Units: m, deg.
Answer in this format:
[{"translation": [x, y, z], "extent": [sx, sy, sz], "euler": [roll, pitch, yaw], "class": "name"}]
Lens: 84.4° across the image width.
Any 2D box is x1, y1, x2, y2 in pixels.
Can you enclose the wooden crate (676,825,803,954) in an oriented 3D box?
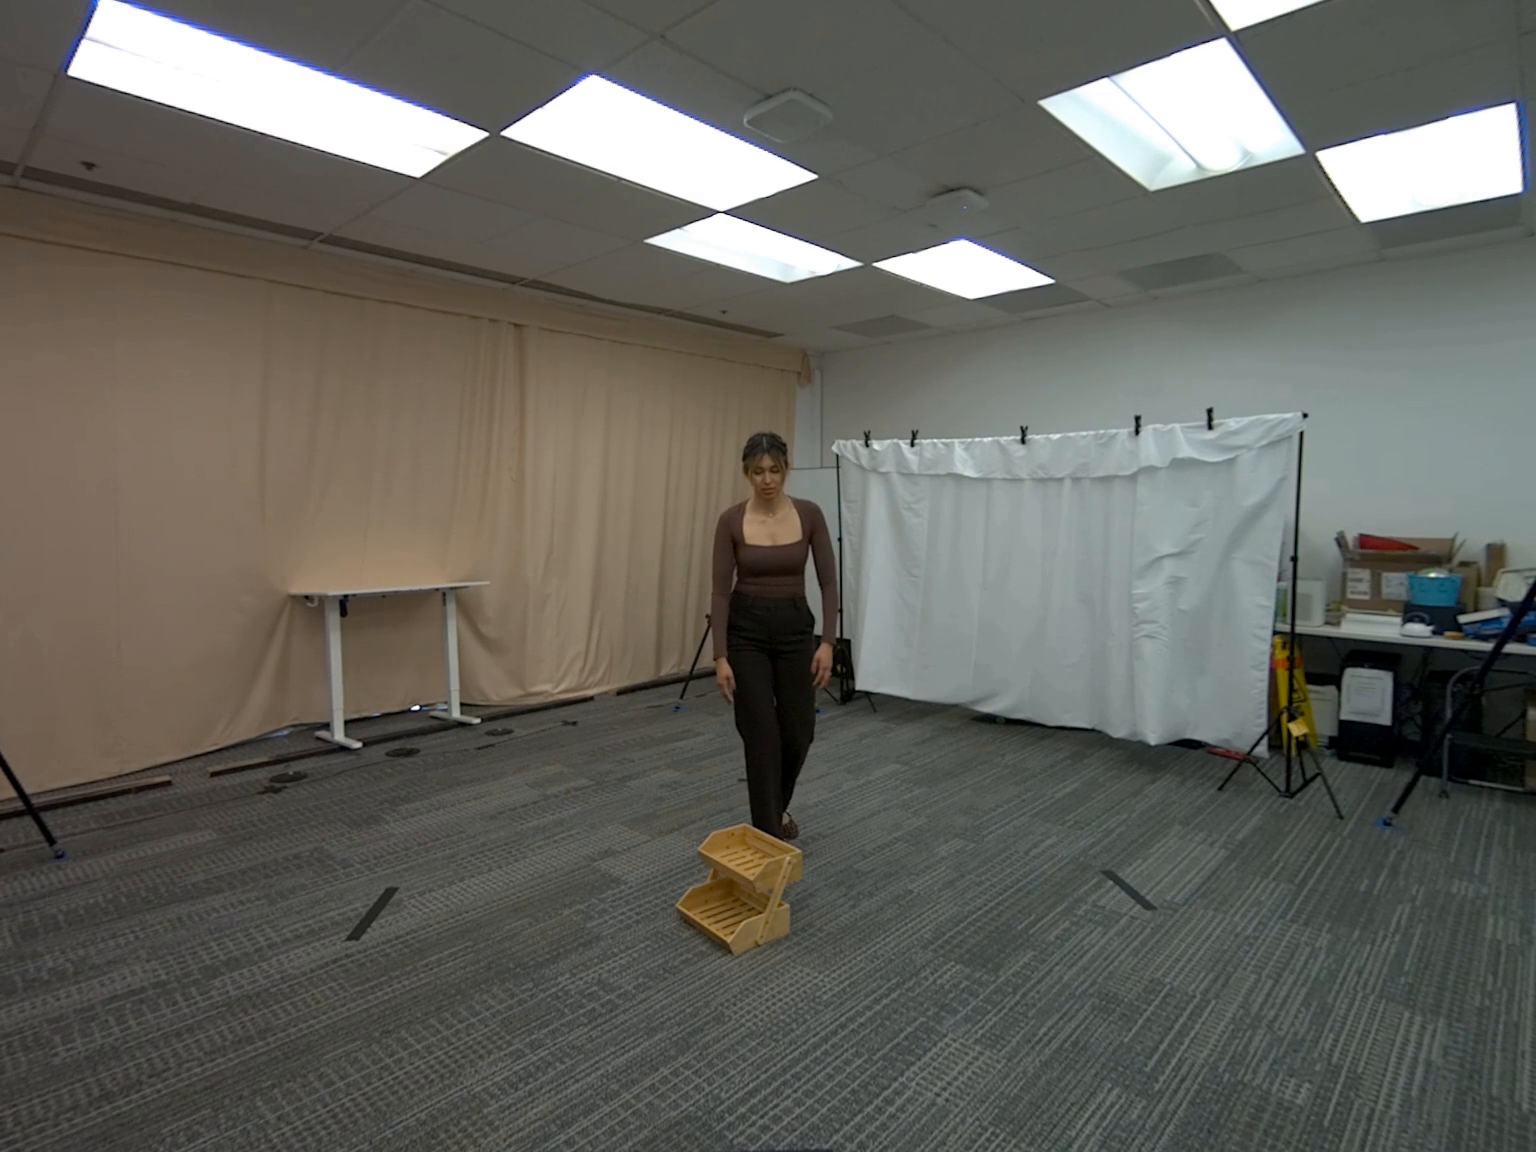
[{"translation": [-0.100, 1.028, 2.798], "extent": [0.293, 0.273, 0.335], "euler": [-3, 5, -38], "class": "wooden crate"}]
